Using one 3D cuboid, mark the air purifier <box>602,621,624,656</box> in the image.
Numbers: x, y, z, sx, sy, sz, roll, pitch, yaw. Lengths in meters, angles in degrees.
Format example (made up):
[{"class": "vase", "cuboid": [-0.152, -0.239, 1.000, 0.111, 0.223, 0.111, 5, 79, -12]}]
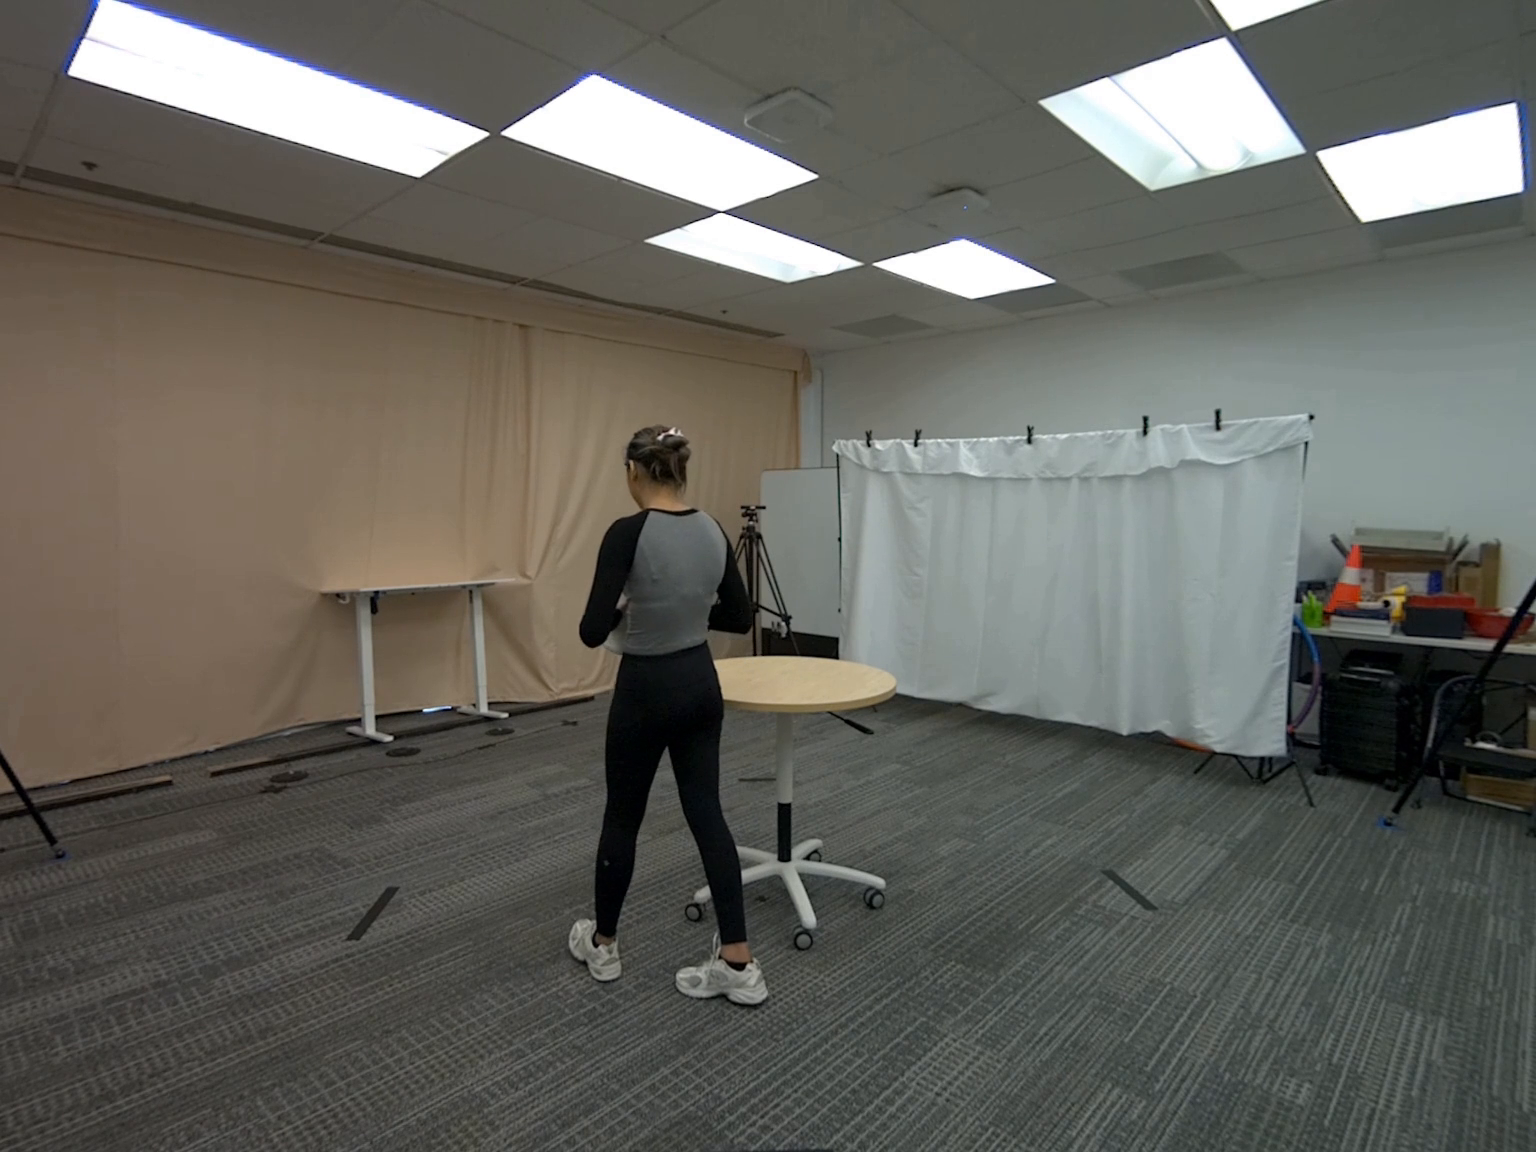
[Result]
[{"class": "air purifier", "cuboid": [-0.394, 0.102, 2.594, 0.166, 0.264, 0.177, 0, 7, -32]}]
